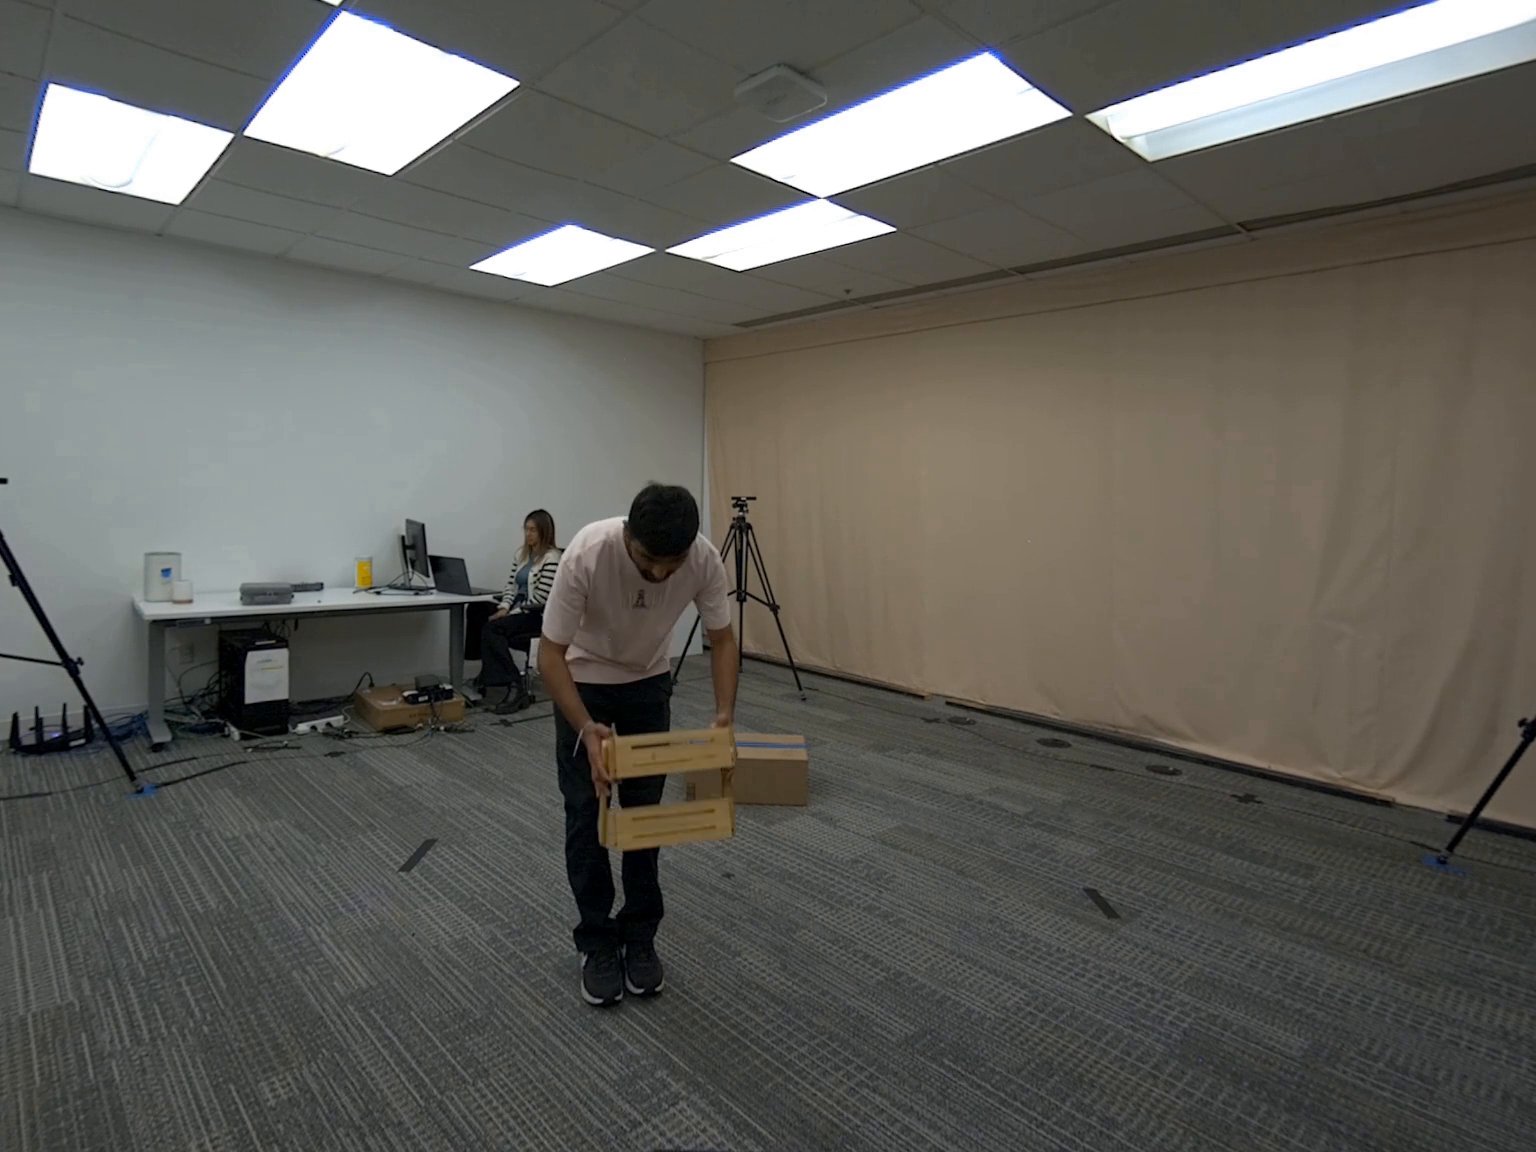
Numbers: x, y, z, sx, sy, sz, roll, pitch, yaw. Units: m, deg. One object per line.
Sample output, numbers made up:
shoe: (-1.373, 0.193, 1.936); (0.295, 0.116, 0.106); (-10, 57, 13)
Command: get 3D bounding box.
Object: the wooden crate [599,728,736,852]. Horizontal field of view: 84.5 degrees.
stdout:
wooden crate: (-0.273, 0.530, 2.135); (0.320, 0.276, 0.303); (-2, -11, -18)
